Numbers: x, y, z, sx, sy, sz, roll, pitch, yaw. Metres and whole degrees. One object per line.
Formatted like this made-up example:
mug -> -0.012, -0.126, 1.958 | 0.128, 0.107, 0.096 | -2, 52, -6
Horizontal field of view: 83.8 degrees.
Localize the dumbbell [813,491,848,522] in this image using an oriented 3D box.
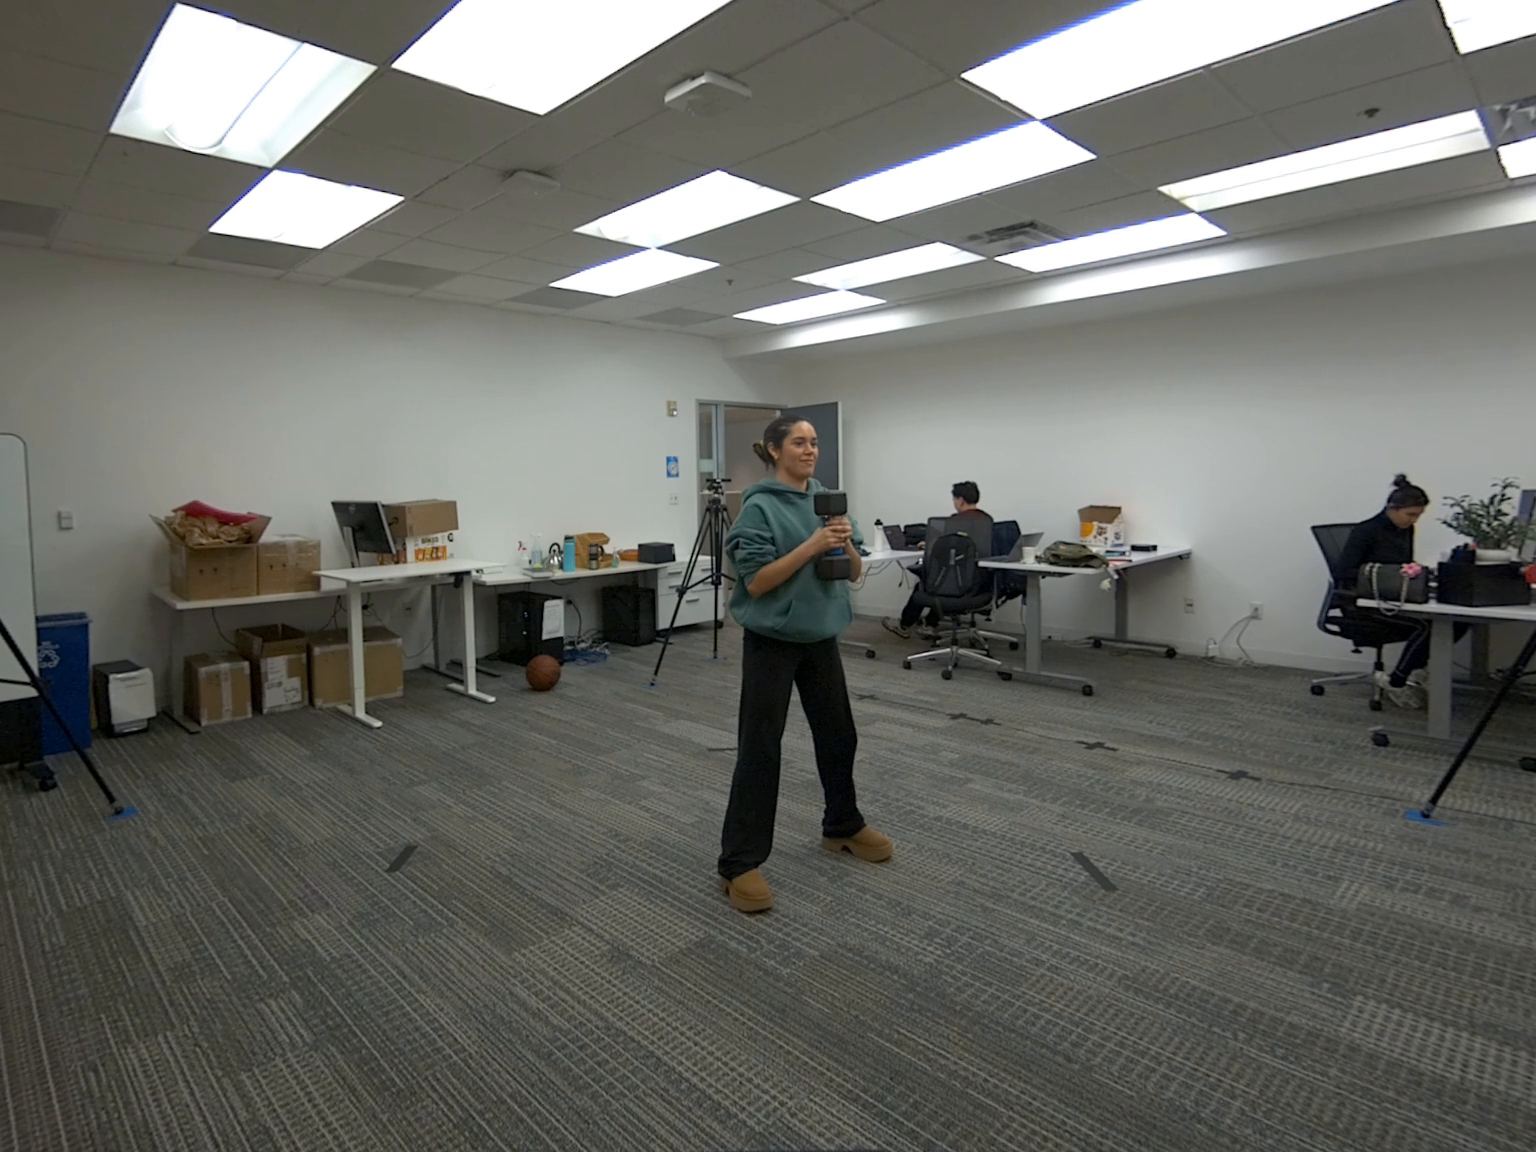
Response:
dumbbell -> 0.190, -0.123, 2.810 | 0.109, 0.292, 0.122 | -3, 4, 8
